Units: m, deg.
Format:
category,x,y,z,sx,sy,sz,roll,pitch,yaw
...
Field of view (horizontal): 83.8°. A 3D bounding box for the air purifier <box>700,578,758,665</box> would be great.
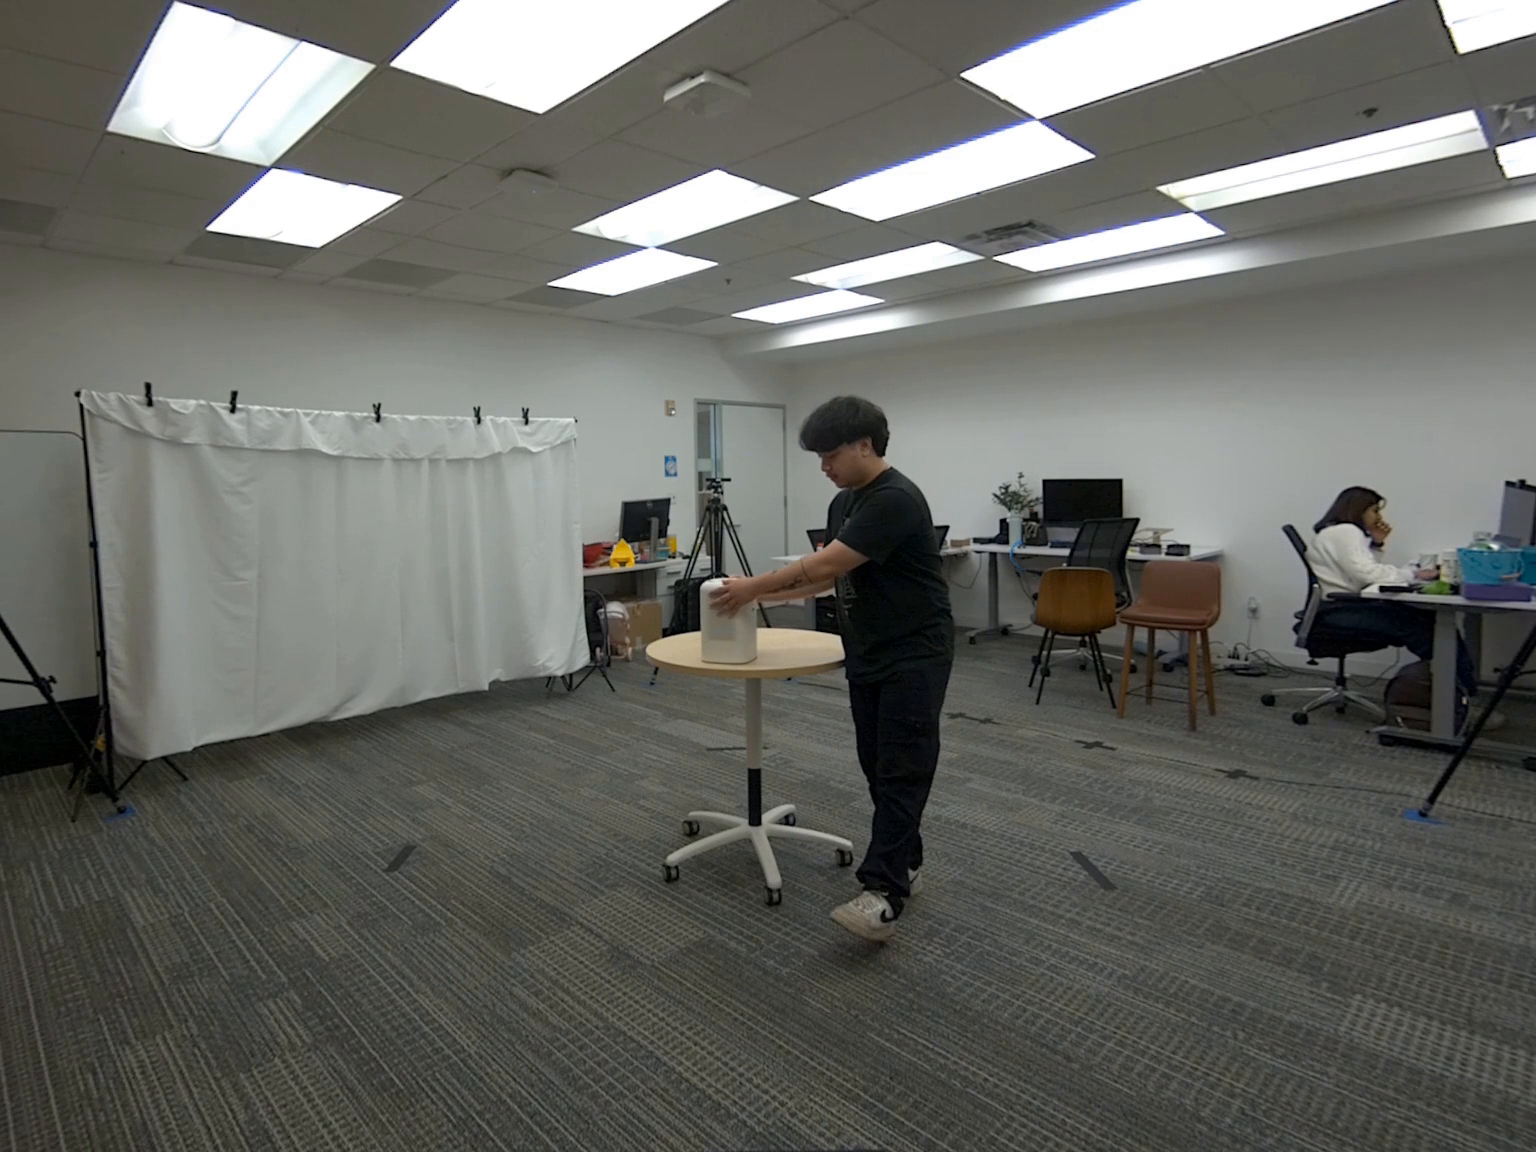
category,x,y,z,sx,sy,sz,roll,pitch,yaw
air purifier,-0.125,0.144,2.850,0.175,0.264,0.169,-1,5,18
